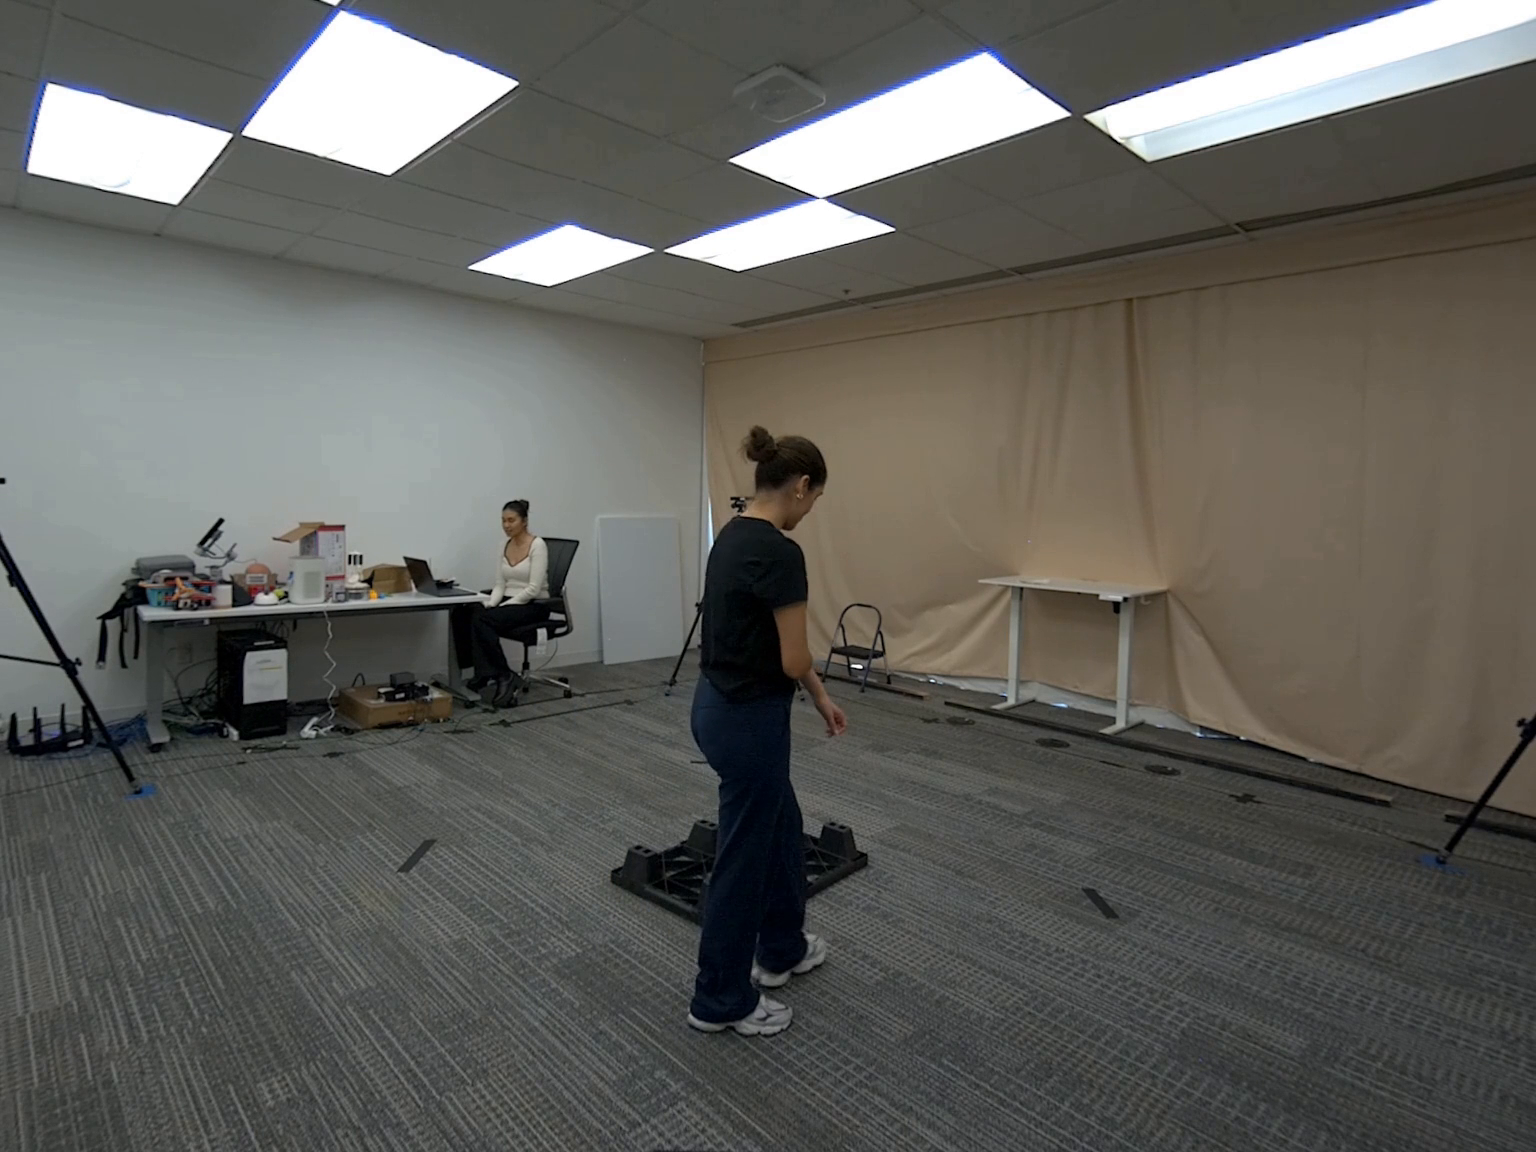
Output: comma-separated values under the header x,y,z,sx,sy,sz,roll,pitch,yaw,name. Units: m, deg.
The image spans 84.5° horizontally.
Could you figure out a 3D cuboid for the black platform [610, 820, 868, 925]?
x,y,z,sx,sy,sz,roll,pitch,yaw,name
-0.093,1.042,3.107,0.620,0.143,0.788,5,7,40,black platform
